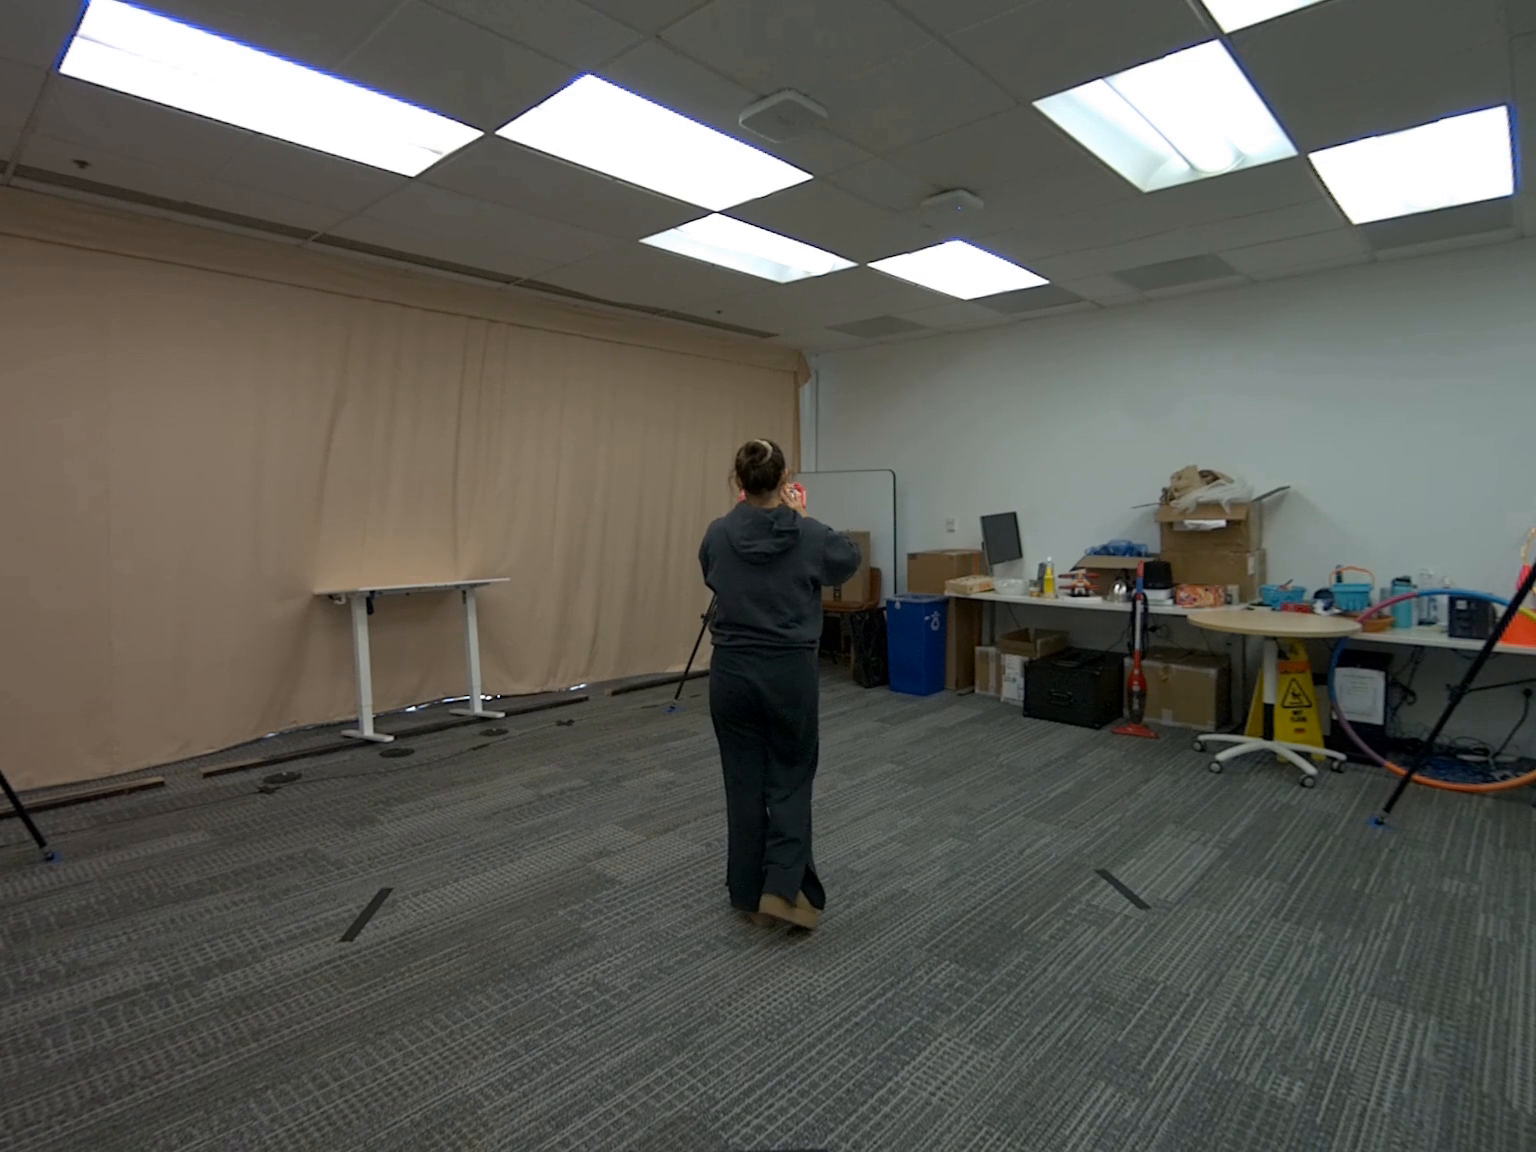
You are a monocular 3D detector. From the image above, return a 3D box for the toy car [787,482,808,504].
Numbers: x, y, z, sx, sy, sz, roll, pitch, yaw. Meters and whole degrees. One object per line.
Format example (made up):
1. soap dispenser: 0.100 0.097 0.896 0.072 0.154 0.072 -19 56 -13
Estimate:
1. toy car: 0.023 -0.296 3.088 0.251 0.132 0.083 7 -20 -13
